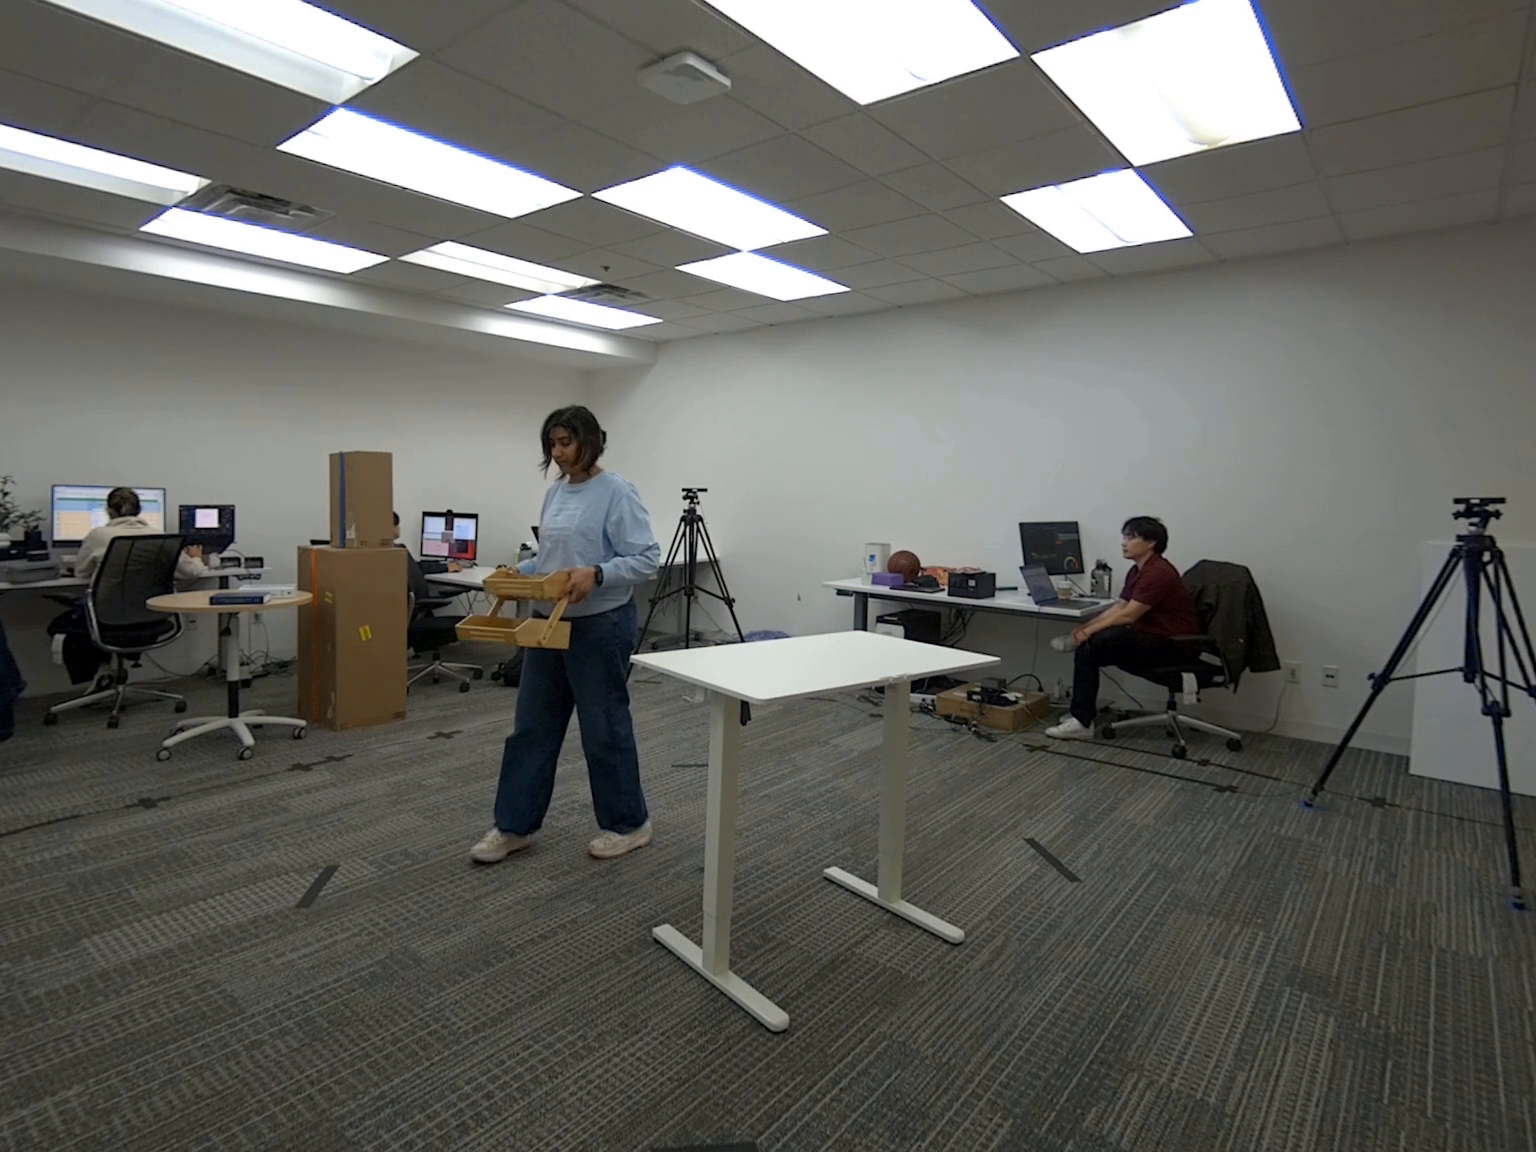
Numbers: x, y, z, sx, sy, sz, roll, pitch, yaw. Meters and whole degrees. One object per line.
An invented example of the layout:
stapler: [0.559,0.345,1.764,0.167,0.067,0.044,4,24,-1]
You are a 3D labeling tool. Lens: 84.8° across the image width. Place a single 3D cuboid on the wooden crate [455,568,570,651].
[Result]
wooden crate: [-0.875,0.096,2.959,0.334,0.275,0.291,2,-6,32]
